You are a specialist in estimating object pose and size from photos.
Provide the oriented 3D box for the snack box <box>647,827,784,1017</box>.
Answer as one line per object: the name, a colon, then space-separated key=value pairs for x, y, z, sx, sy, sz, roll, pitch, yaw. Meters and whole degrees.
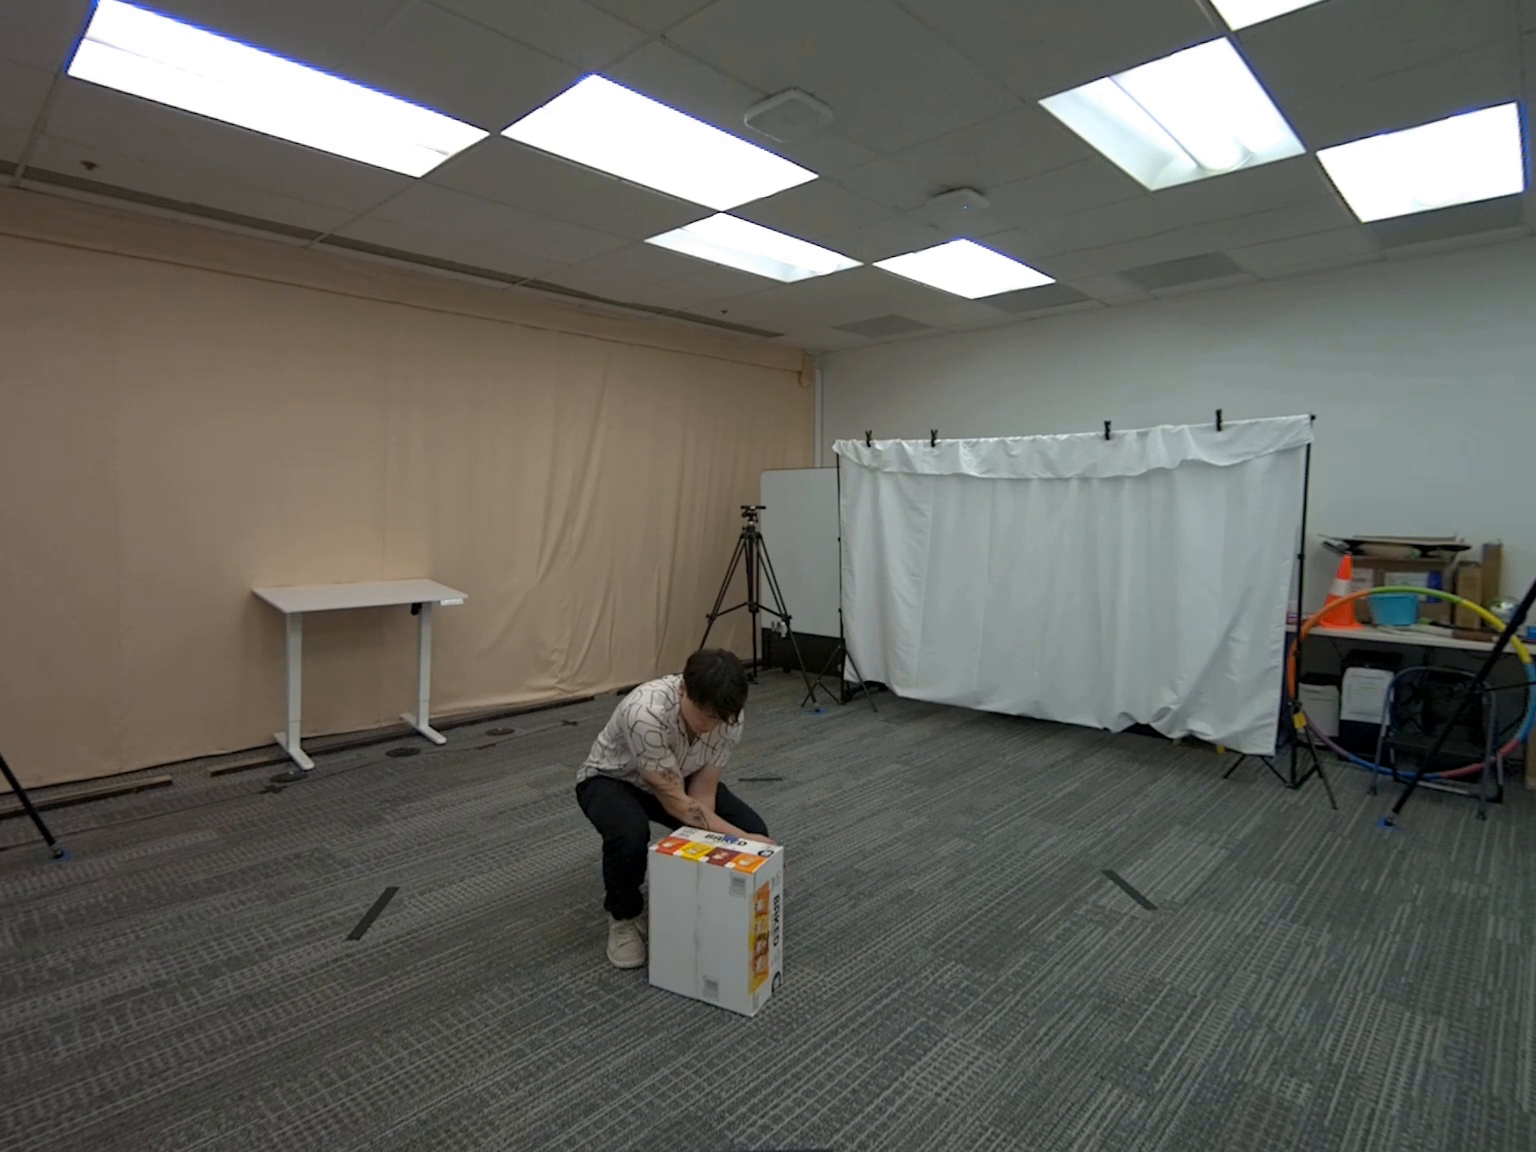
snack box: x=-0.151 y=0.983 z=2.440 sx=0.350 sy=0.404 sz=0.200 roll=2 pitch=4 yaw=27
